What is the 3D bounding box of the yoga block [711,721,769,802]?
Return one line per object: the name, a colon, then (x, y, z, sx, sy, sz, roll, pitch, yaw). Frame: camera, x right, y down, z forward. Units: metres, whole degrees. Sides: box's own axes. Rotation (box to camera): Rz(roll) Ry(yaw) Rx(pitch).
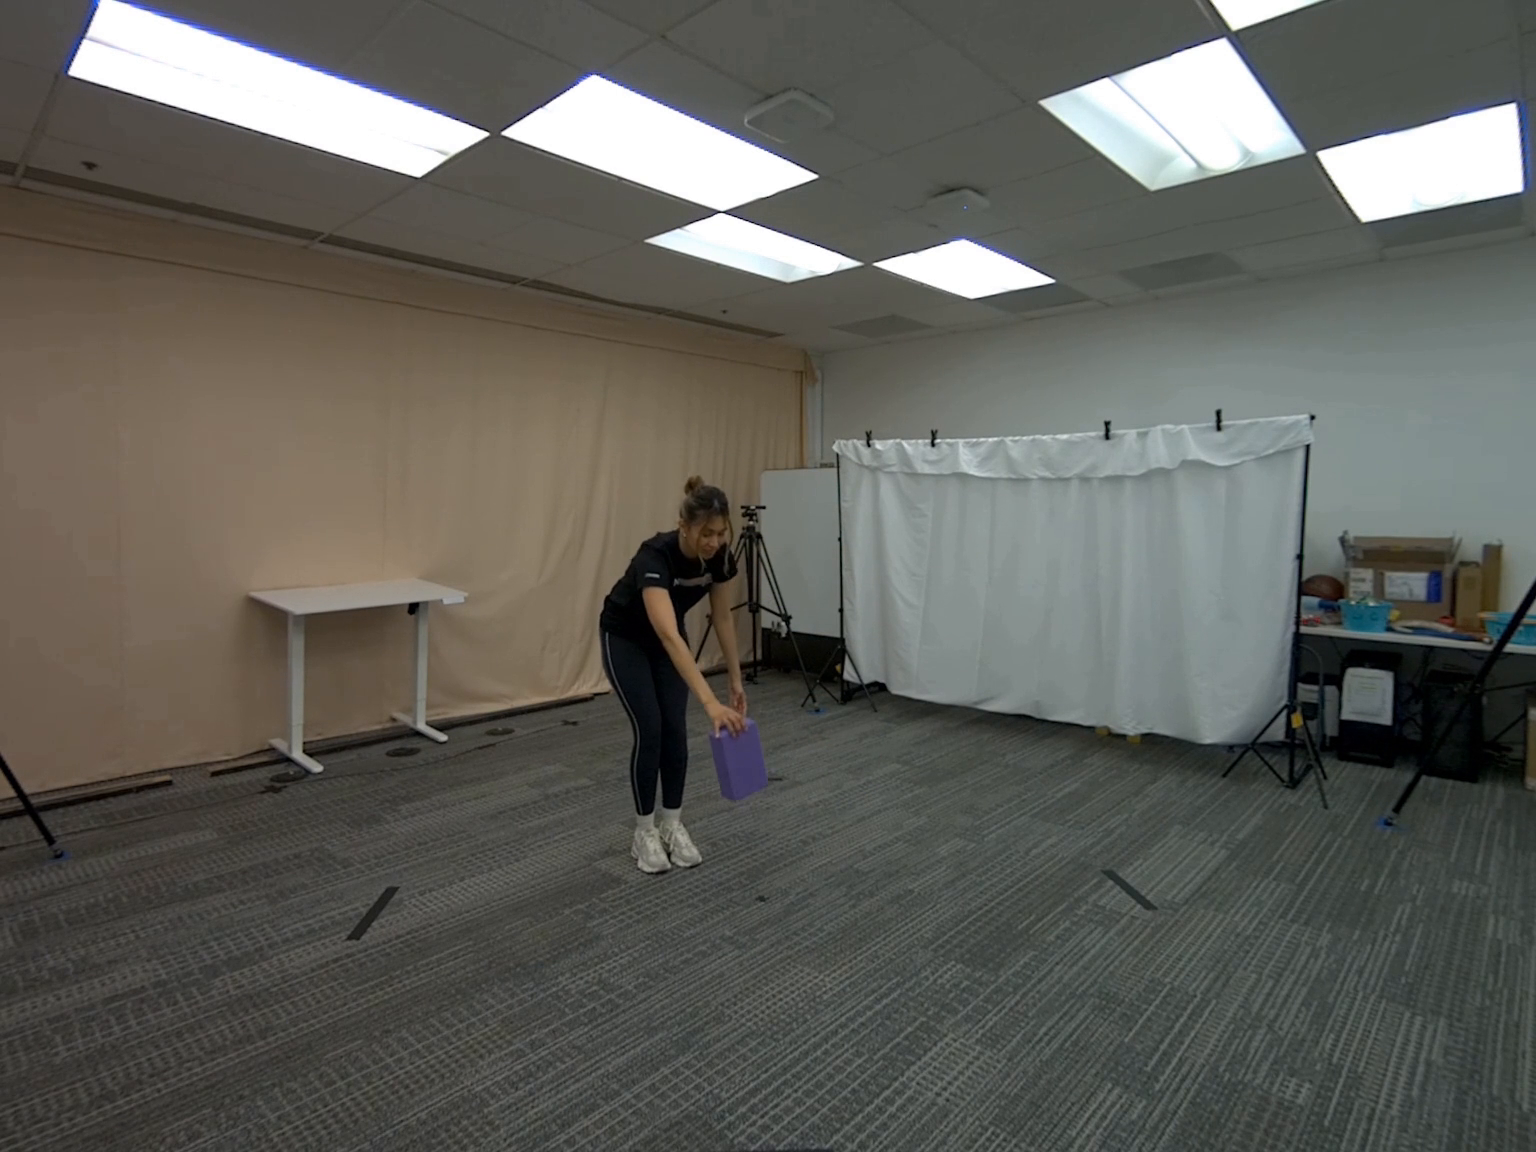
yoga block: (-0.087, 0.588, 2.720, 0.145, 0.228, 0.079, -13, 7, -33)
